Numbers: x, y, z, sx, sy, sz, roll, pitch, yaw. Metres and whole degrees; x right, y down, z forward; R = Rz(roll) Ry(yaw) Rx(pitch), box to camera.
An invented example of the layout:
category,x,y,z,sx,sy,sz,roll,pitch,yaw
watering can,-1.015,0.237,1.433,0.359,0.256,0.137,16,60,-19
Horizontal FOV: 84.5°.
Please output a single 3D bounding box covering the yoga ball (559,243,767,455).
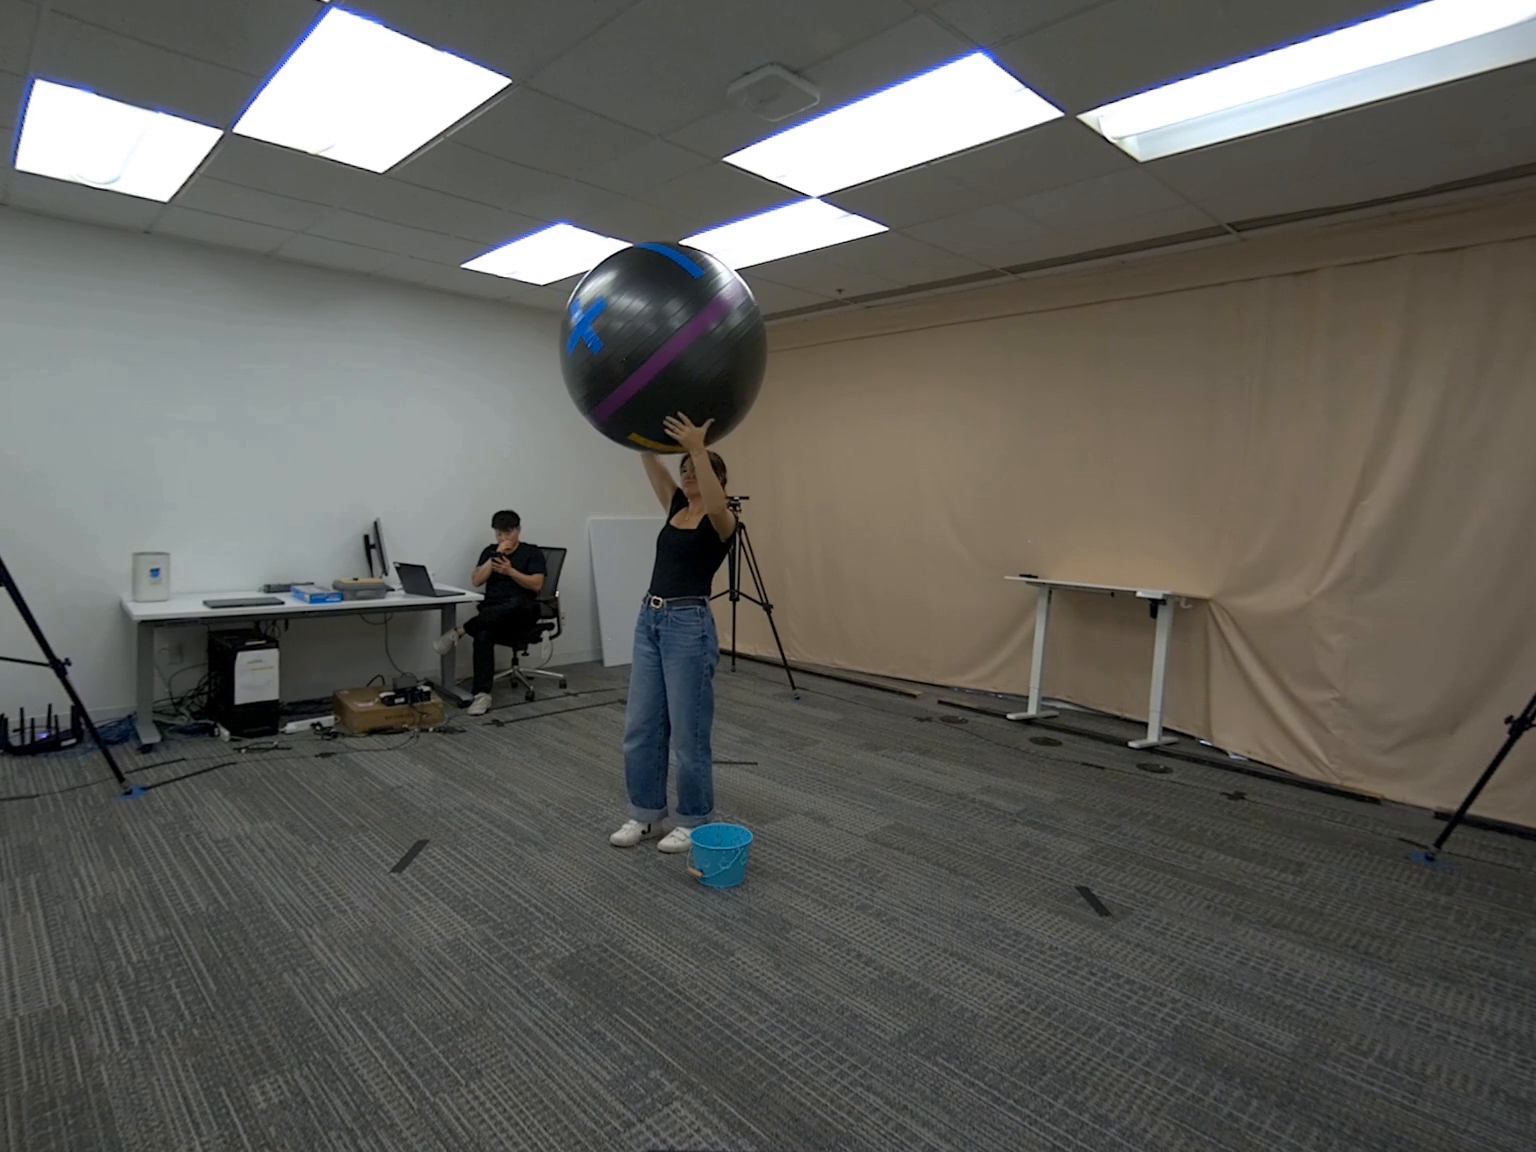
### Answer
category,x,y,z,sx,sy,sz,roll,pitch,yaw
yoga ball,-0.383,-0.824,3.089,0.757,0.756,0.761,1,4,-1
